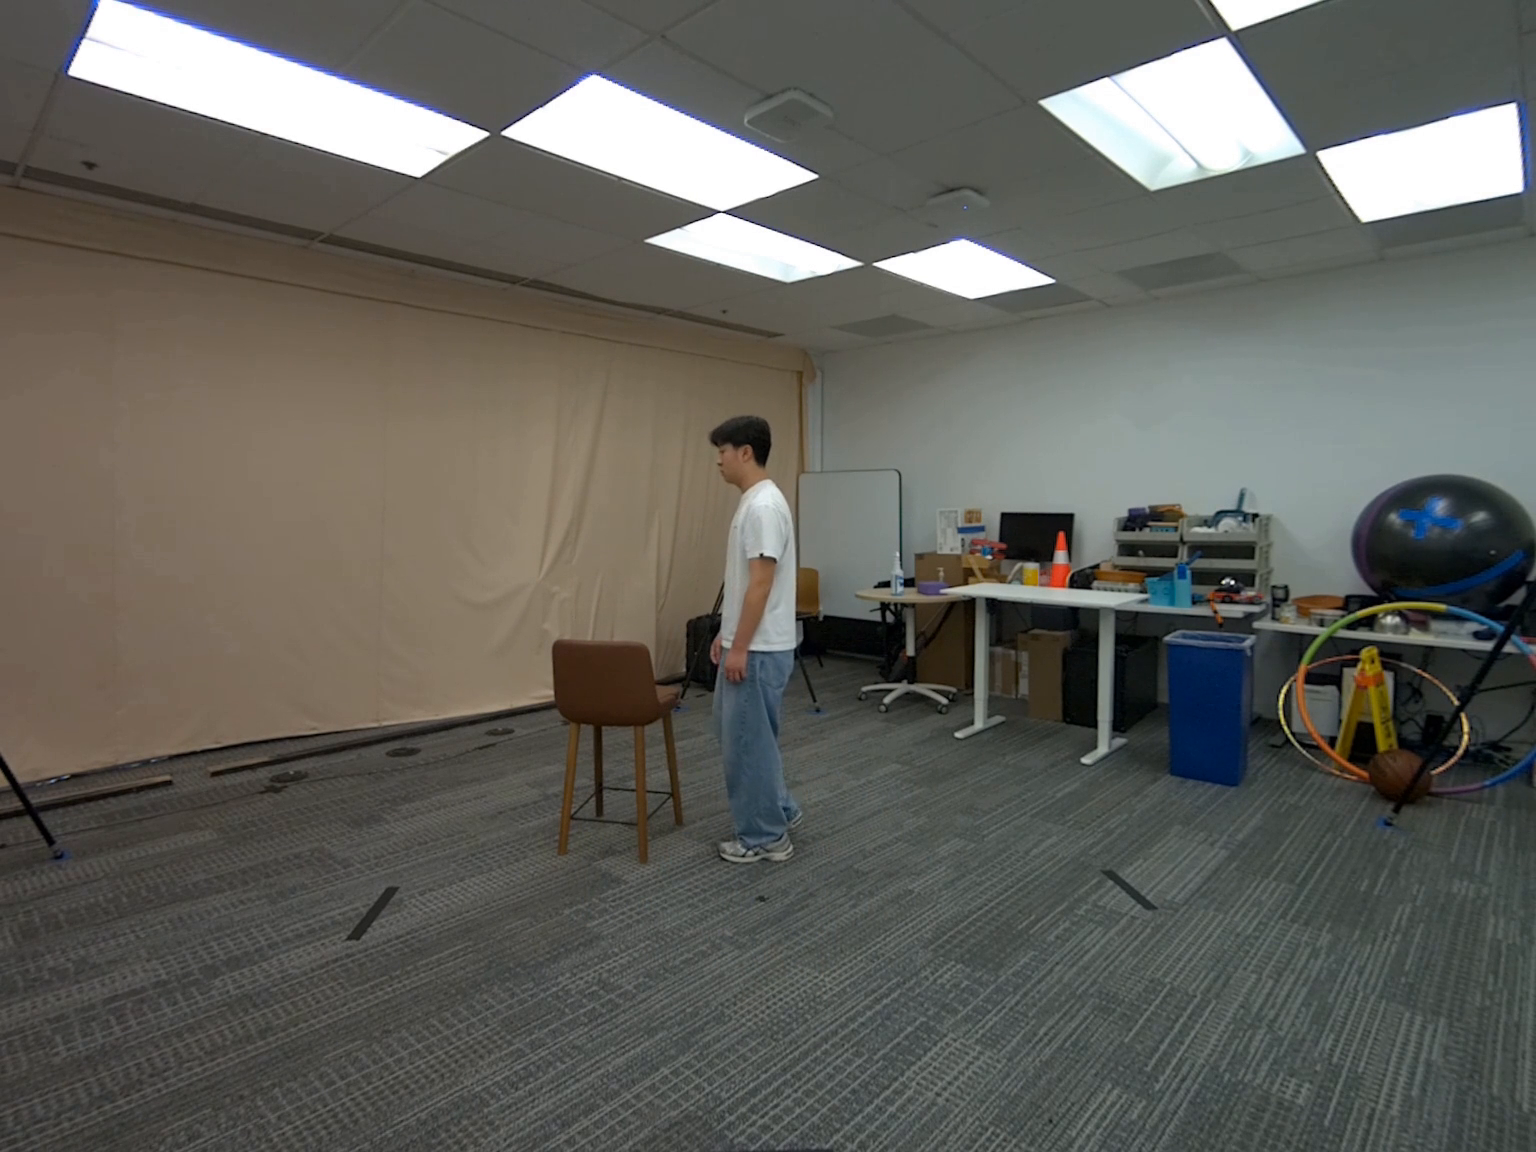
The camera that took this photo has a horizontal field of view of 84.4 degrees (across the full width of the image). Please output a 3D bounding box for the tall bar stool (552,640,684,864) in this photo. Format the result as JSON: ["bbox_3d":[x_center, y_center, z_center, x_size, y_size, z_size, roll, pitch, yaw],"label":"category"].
[{"bbox_3d":[-0.623,0.674,3.521,0.464,0.887,0.461,-1,4,14],"label":"tall bar stool"}]
